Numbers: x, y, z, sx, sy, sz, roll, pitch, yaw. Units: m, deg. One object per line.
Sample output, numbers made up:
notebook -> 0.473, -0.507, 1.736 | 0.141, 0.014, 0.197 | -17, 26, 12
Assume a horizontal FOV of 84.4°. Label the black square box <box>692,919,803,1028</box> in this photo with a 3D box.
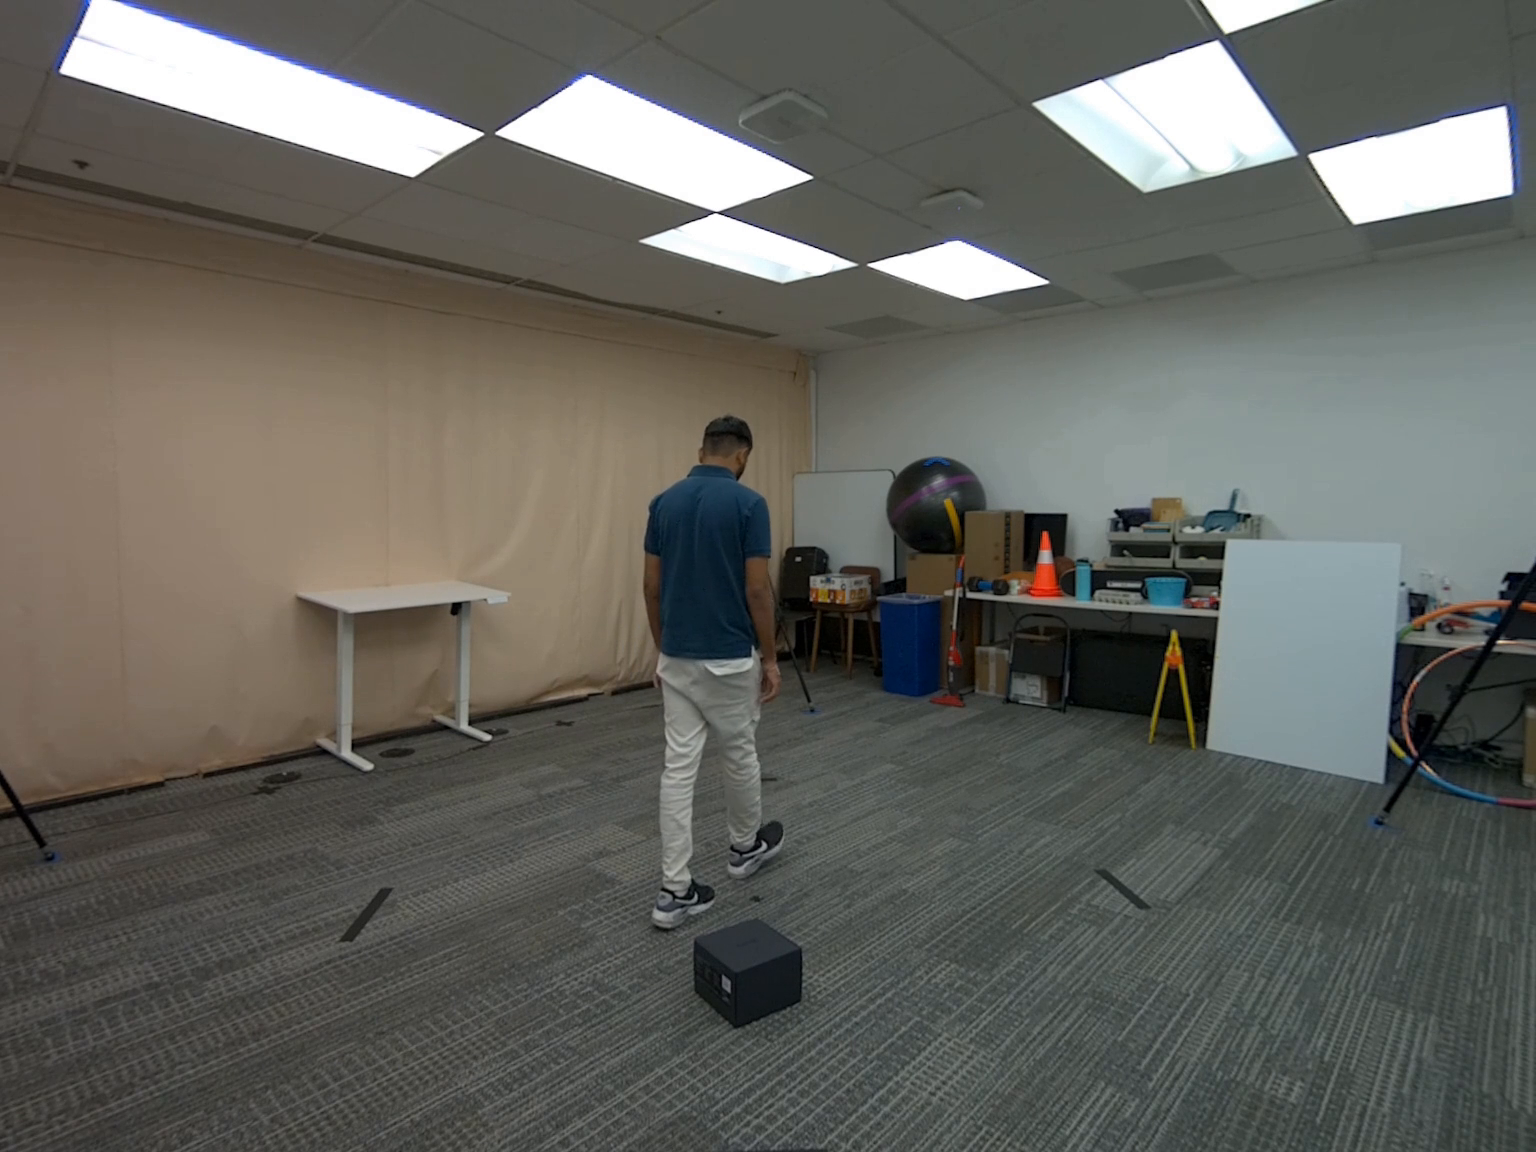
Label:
black square box -> -0.056, 1.111, 2.381 | 0.221, 0.155, 0.224 | -3, 5, -37
